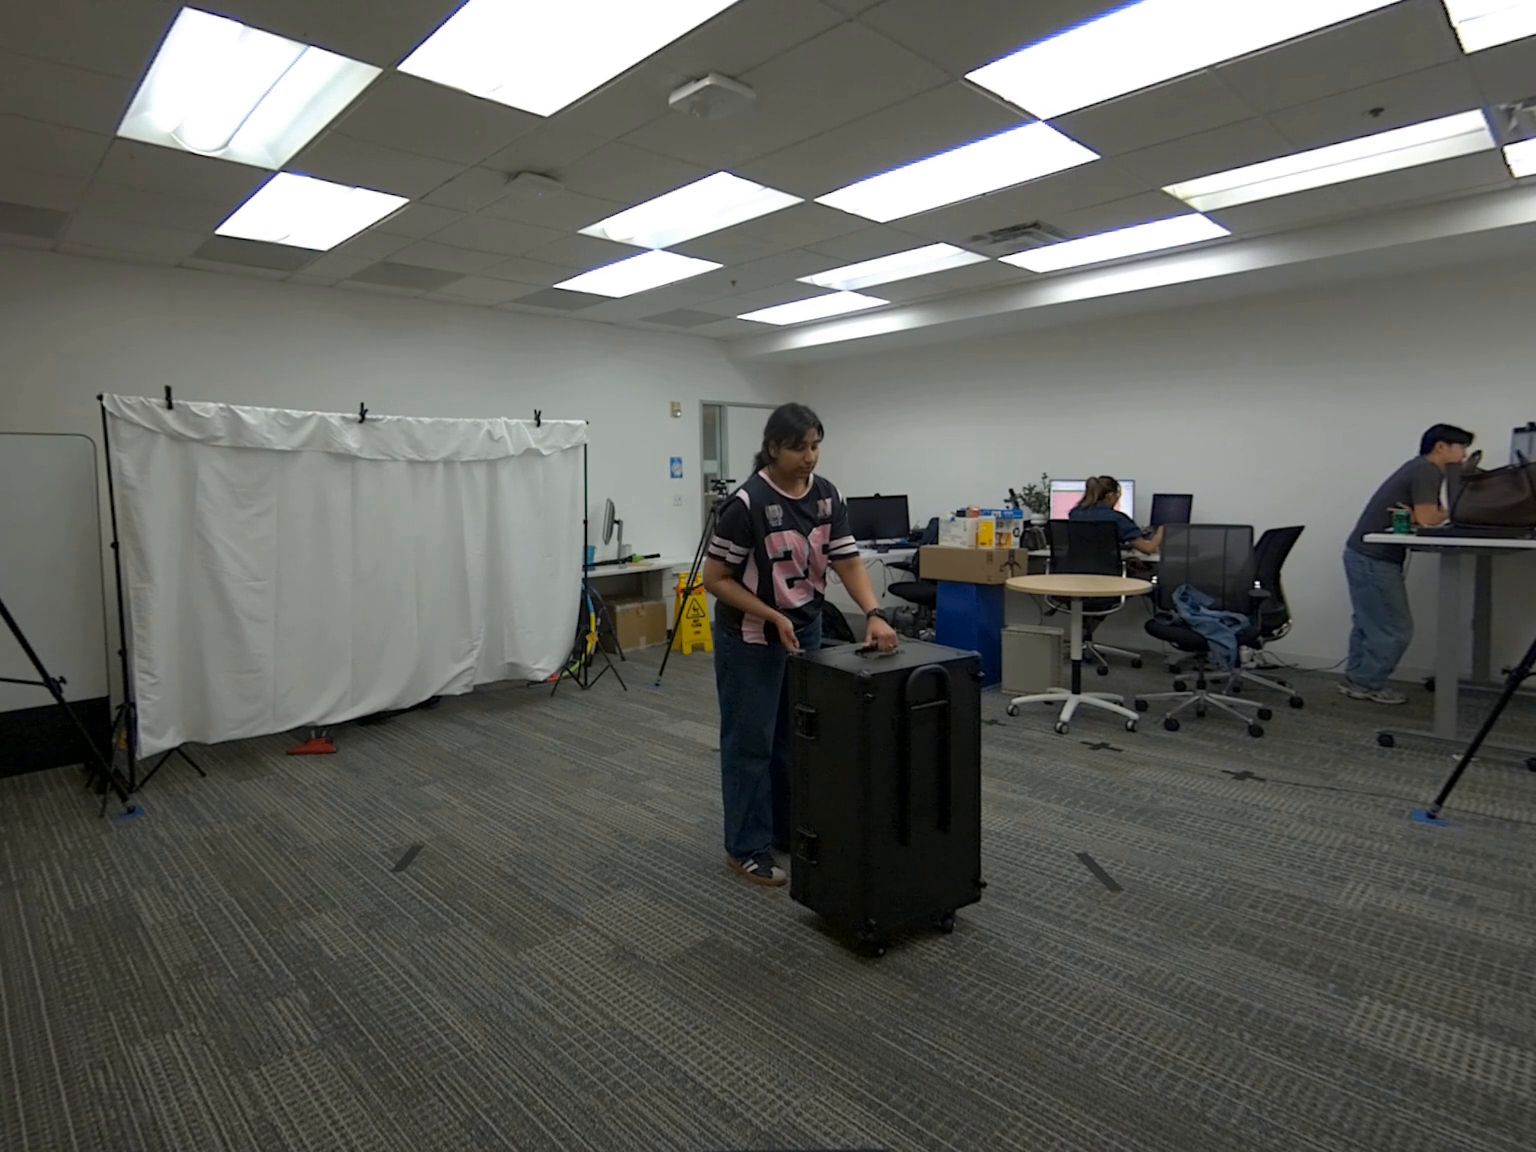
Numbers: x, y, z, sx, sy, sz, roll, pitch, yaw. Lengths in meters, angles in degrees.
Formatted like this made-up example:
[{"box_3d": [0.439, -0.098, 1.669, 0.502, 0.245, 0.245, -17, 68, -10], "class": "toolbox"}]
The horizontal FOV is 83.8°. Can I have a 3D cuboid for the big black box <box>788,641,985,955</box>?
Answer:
[{"box_3d": [0.383, 0.670, 2.656, 0.510, 0.865, 0.396, -4, 5, -33], "class": "big black box"}]
